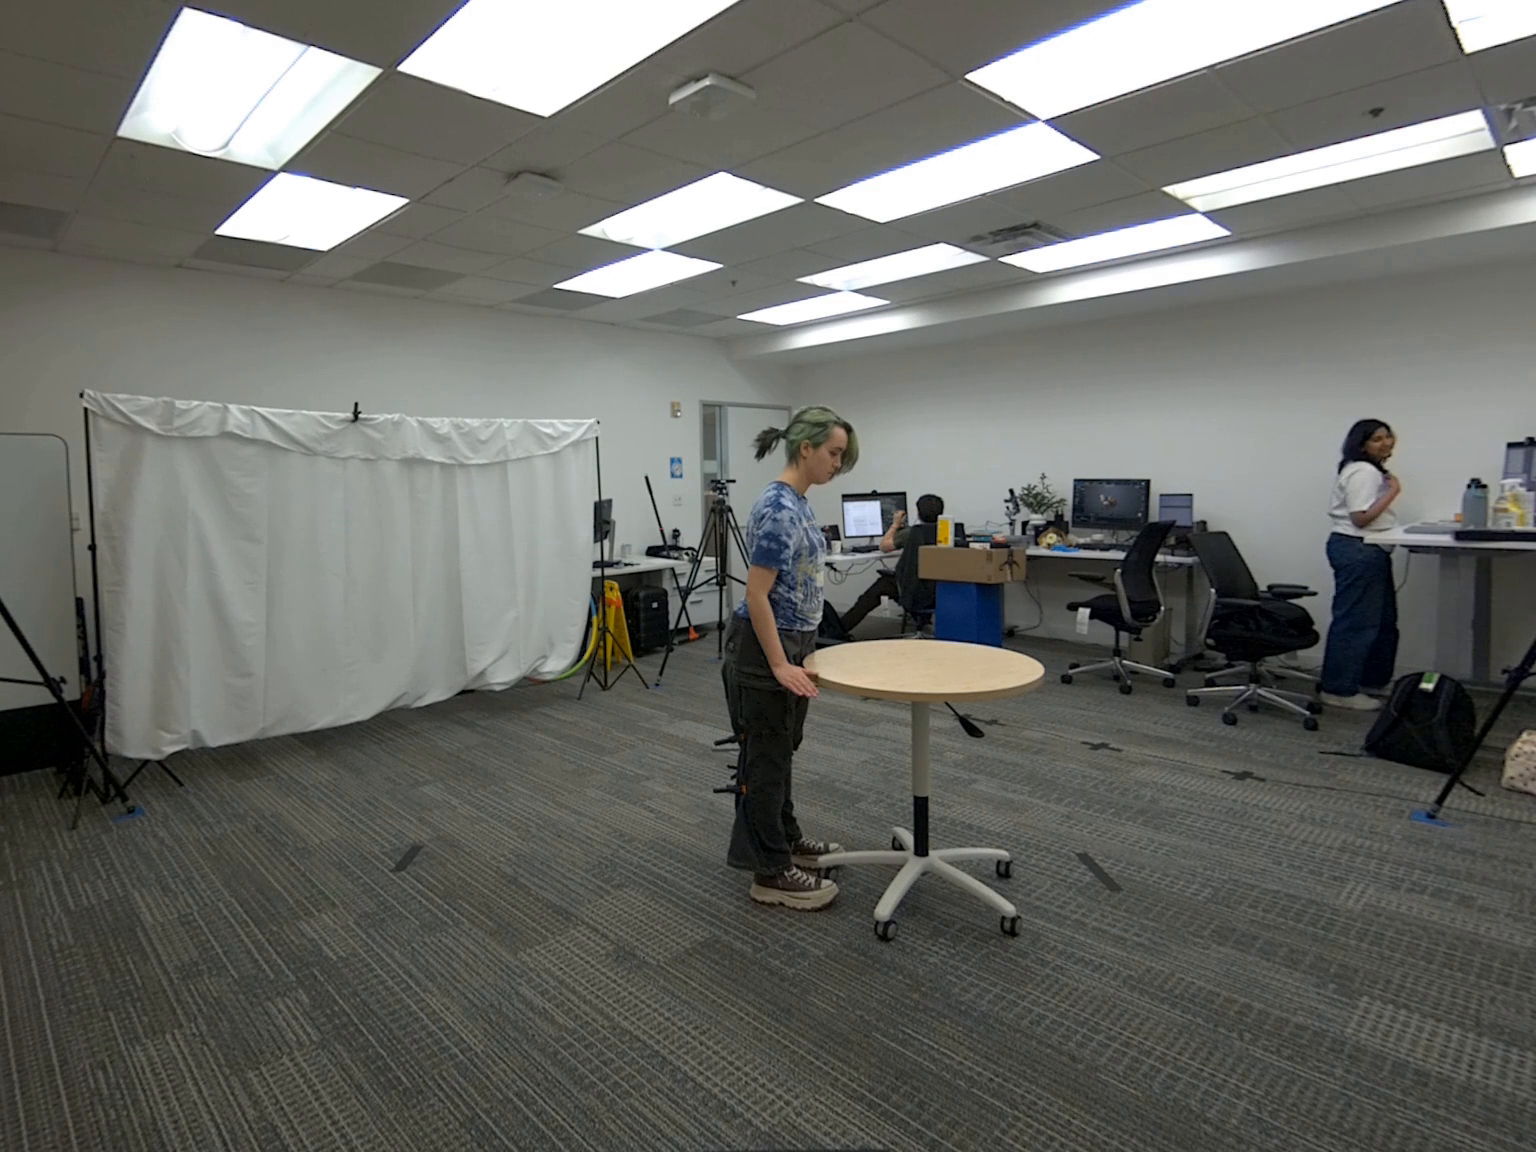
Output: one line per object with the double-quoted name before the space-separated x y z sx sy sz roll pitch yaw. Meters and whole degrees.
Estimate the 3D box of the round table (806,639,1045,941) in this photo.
"round table" 0.495 0.675 2.816 0.784 0.783 0.789 -1 5 -2
